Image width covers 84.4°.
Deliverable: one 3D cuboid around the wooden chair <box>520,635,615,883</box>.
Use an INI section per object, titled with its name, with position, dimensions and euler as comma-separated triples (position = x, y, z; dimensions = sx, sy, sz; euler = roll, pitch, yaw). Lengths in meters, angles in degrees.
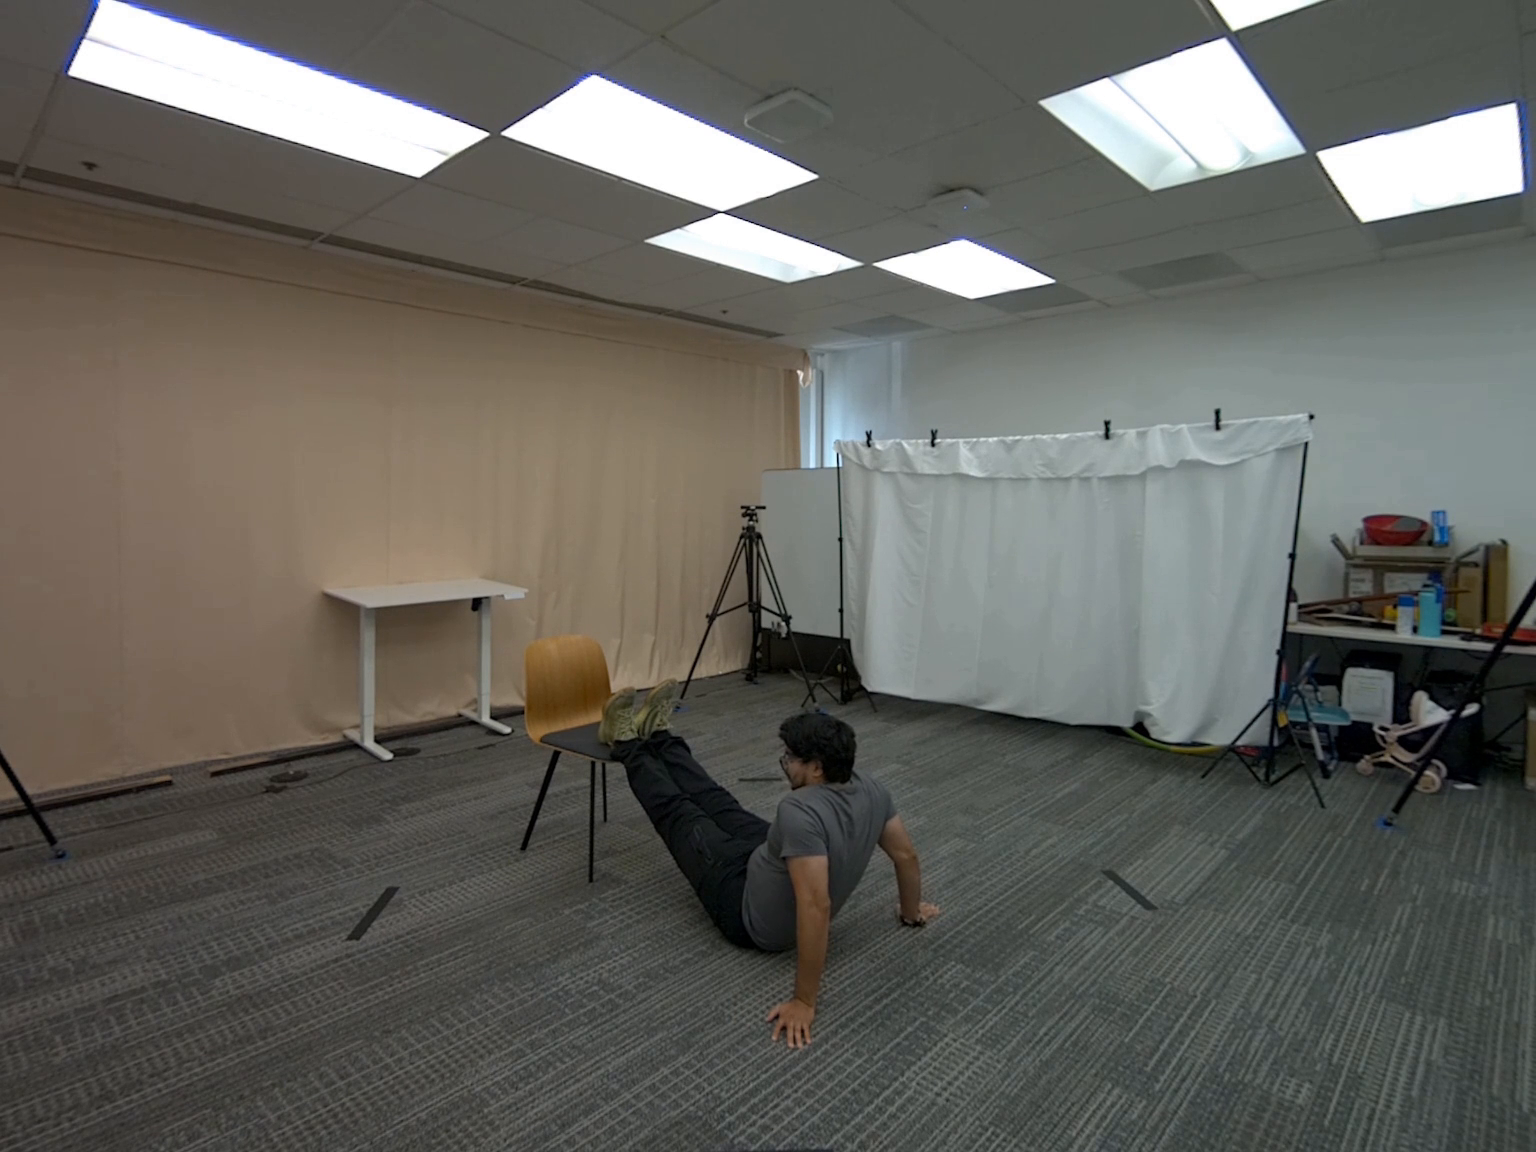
[wooden chair]
position = -0.688, 0.690, 3.401
dimensions = 0.539, 0.877, 0.463
euler = -3, 1, 42
